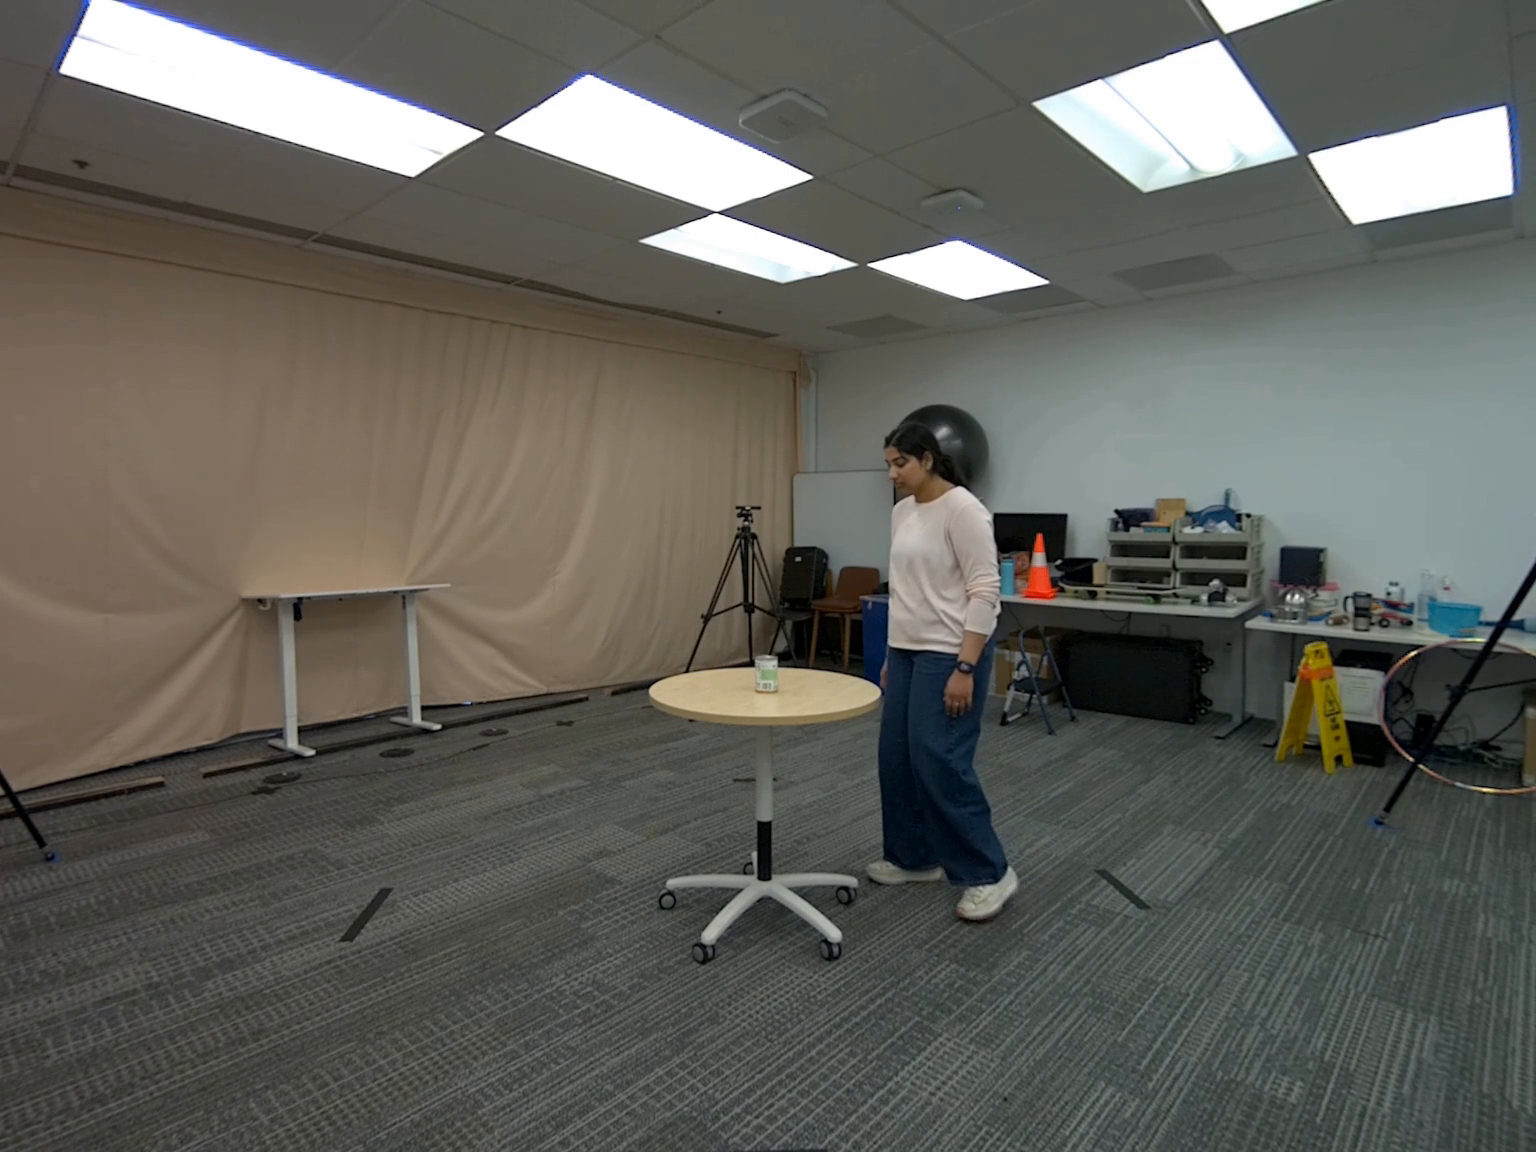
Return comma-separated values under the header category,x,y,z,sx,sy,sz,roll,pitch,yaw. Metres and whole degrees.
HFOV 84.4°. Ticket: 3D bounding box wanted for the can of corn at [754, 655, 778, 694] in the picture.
category,x,y,z,sx,sy,sz,roll,pitch,yaw
can of corn,0.003,0.322,2.763,0.074,0.111,0.074,0,2,-2
